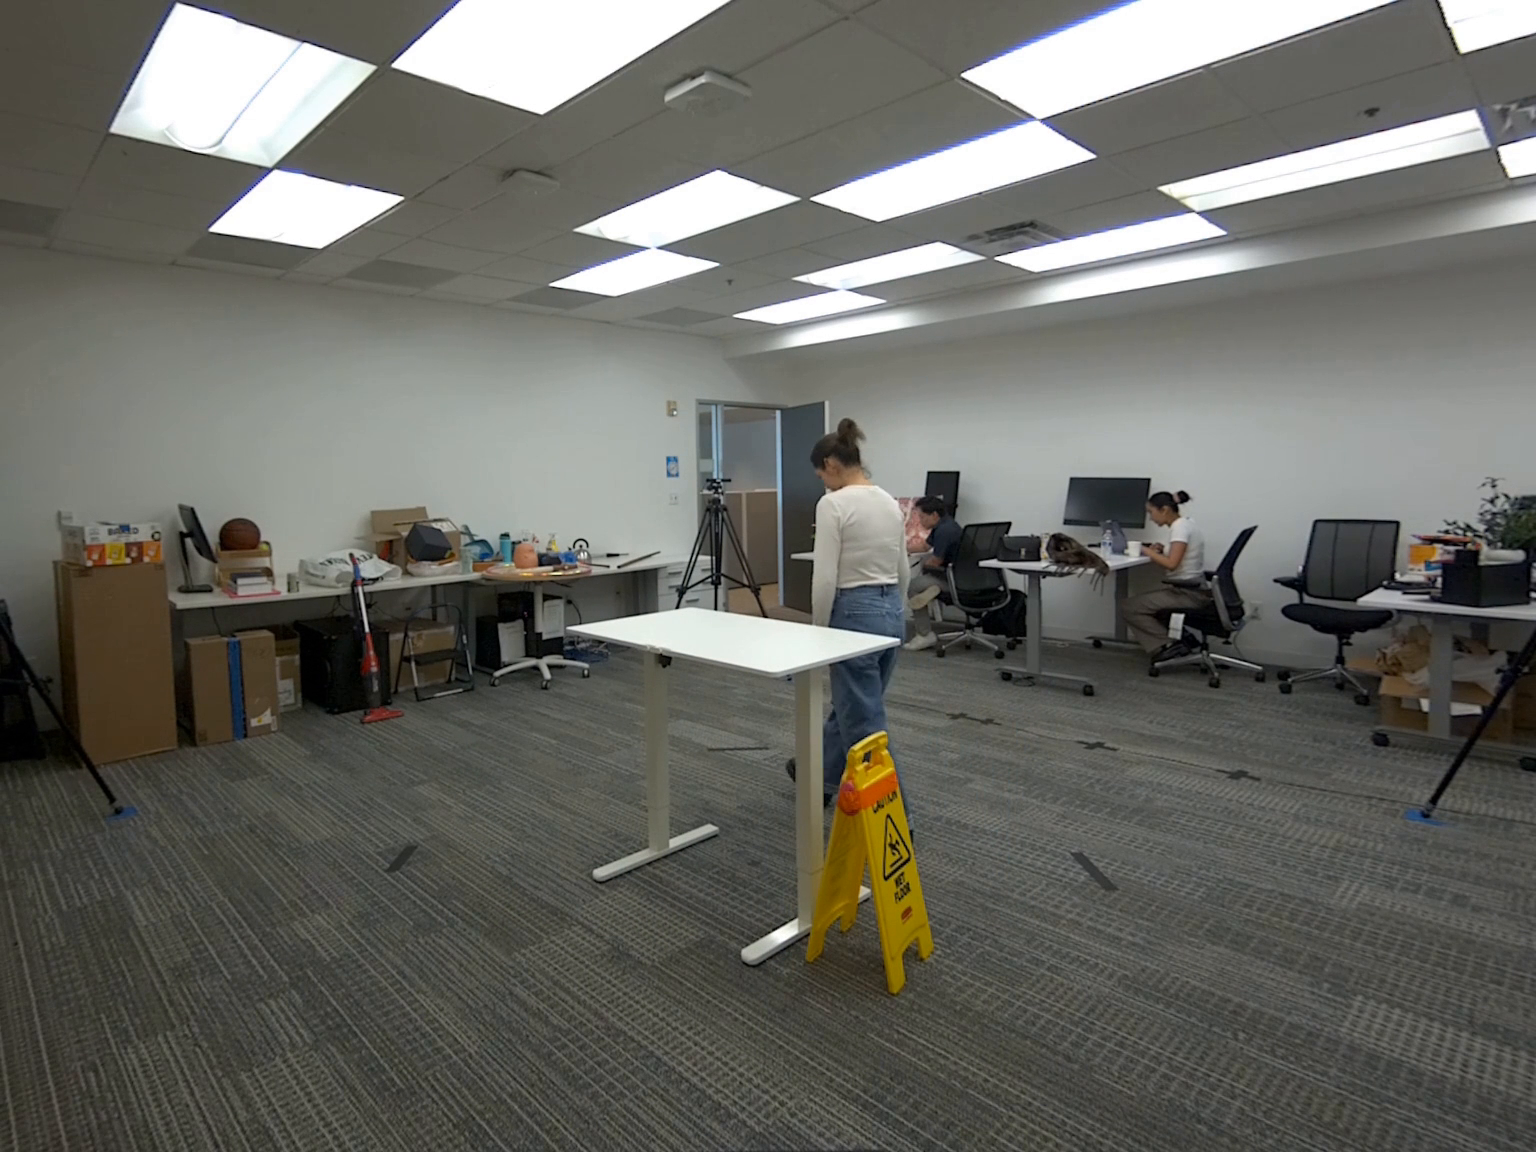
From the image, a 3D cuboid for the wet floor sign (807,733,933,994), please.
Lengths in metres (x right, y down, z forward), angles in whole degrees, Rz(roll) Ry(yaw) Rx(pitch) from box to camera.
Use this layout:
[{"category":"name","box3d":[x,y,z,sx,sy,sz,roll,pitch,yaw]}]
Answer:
[{"category":"wet floor sign","box3d":[0.297,0.791,2.466,0.298,0.643,0.275,3,6,38]}]
